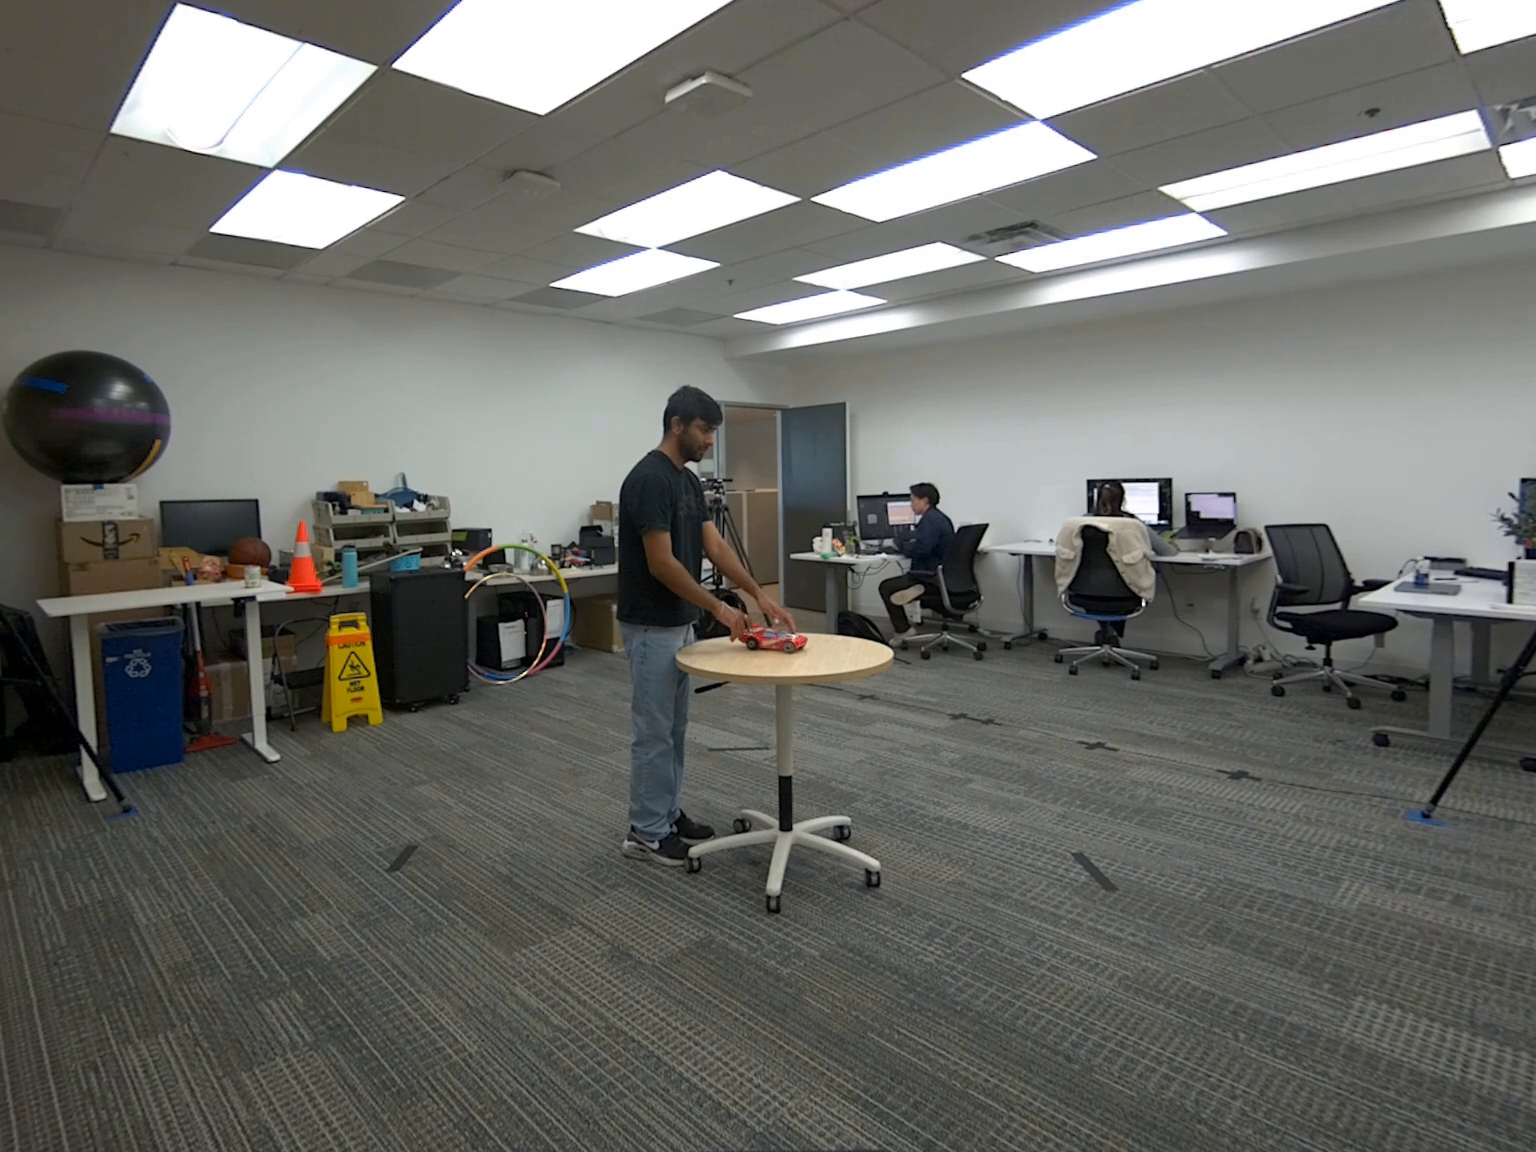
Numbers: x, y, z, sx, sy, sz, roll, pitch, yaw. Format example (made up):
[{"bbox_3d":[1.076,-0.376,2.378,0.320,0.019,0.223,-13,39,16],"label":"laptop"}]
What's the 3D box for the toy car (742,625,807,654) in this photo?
[{"bbox_3d":[0.008,0.231,3.075,0.262,0.082,0.127,14,11,27],"label":"toy car"}]
